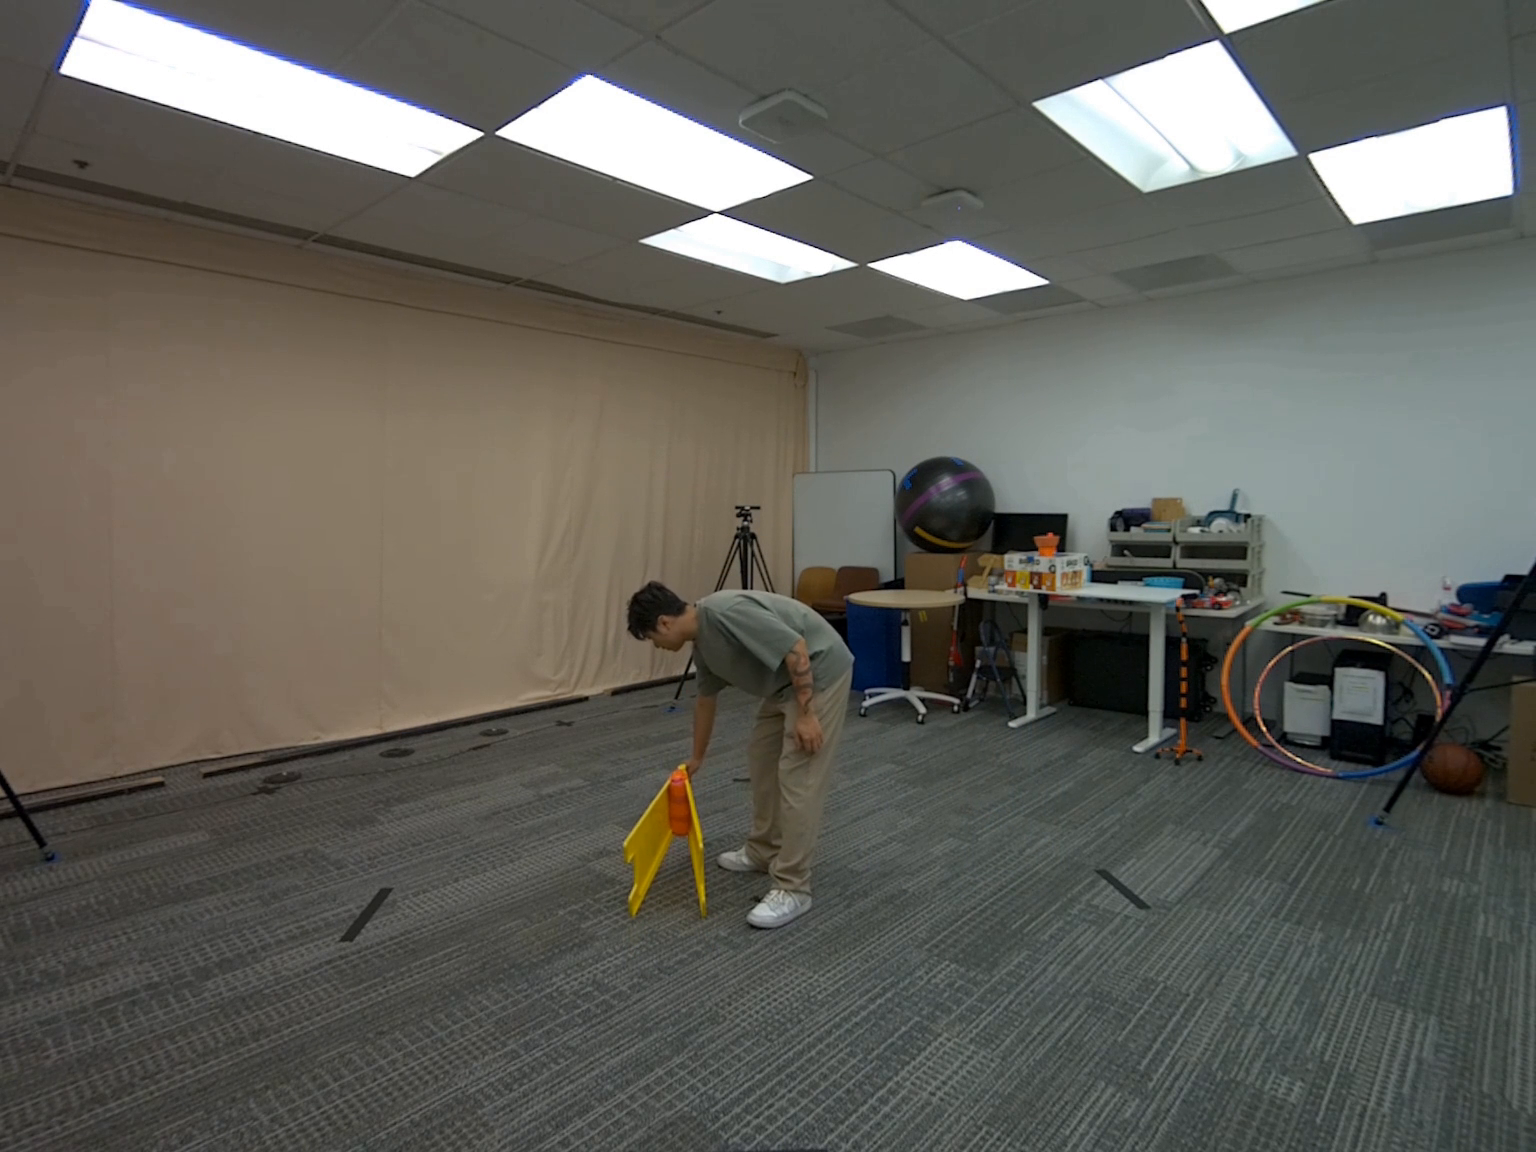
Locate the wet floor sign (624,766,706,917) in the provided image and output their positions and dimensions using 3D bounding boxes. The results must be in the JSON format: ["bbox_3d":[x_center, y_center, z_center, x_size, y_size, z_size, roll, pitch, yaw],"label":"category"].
[{"bbox_3d":[-0.335,0.942,3.134,0.291,0.280,0.650,0,15,1],"label":"wet floor sign"}]
